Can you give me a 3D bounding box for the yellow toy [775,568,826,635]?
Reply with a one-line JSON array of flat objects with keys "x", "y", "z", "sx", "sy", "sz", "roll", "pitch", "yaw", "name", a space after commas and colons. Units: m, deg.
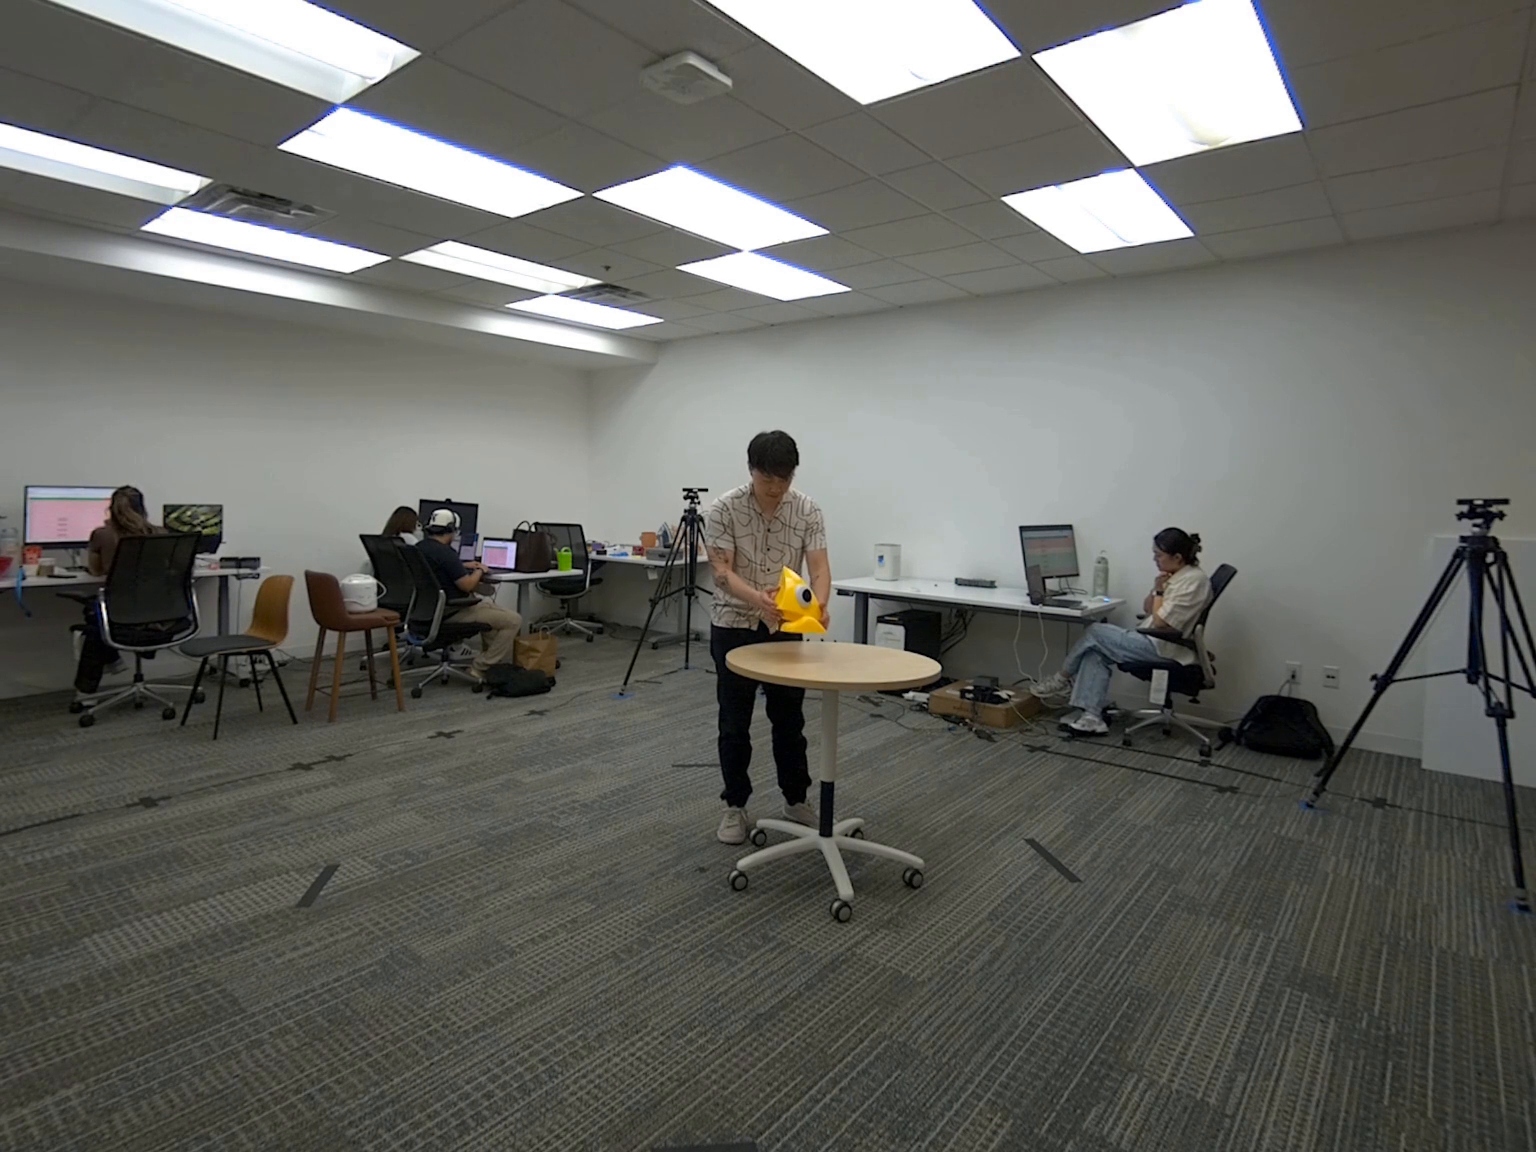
[{"x": 0.099, "y": 0.076, "z": 3.062, "sx": 0.191, "sy": 0.231, "sz": 0.206, "roll": 1, "pitch": -3, "yaw": -11, "name": "yellow toy"}]
